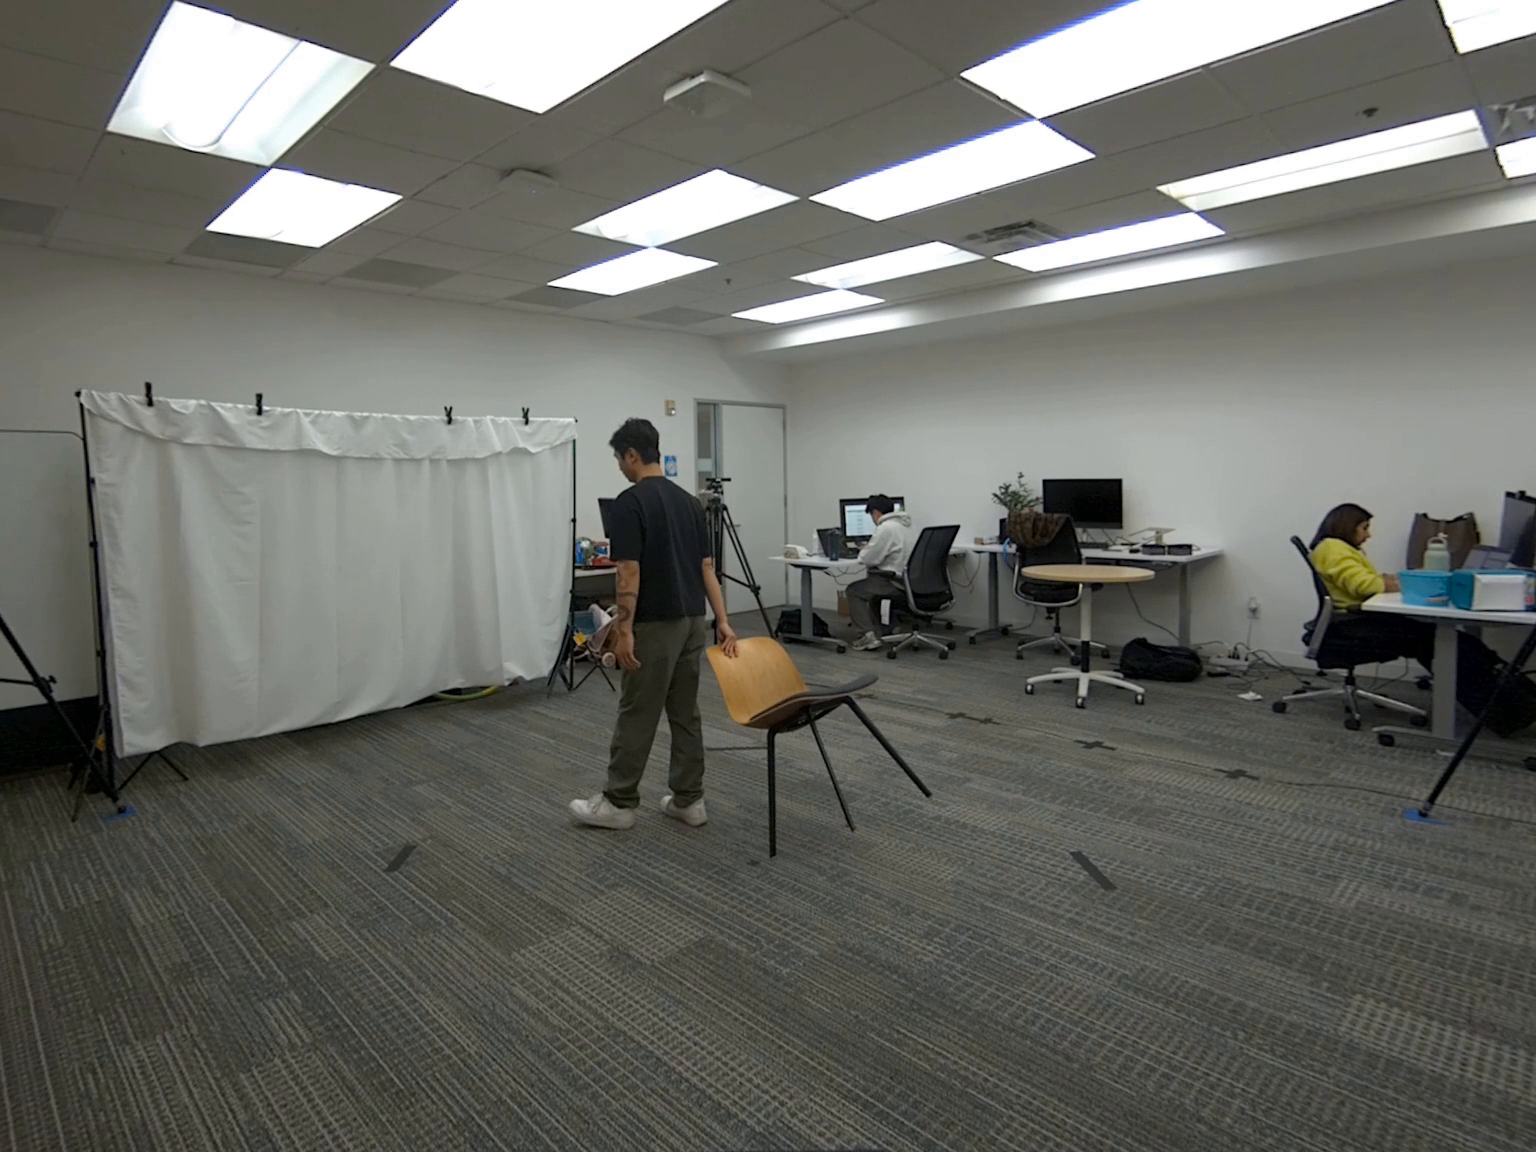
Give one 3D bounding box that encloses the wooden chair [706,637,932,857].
[{"bbox_3d":[0.157,0.529,3.256,0.465,0.899,0.524,-4,-28,-42],"label":"wooden chair"}]
